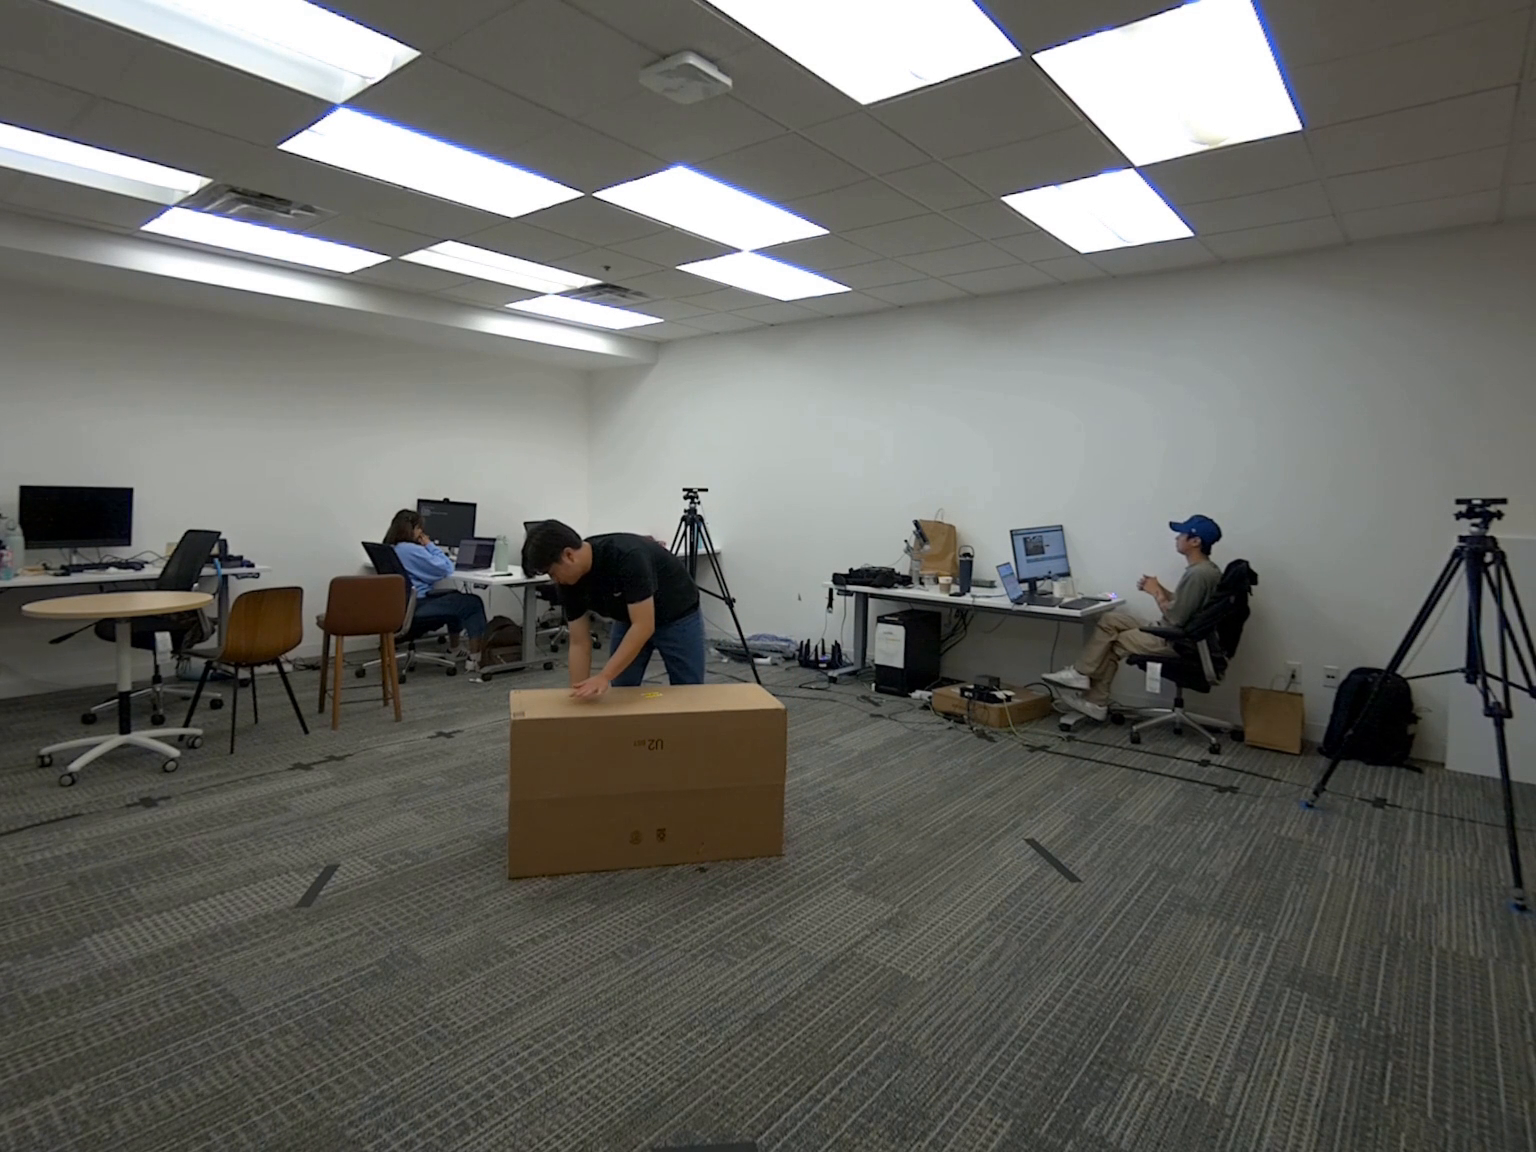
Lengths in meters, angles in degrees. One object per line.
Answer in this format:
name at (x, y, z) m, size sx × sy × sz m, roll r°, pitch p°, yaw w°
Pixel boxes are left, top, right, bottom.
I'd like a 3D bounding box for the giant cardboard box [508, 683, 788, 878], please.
giant cardboard box at (-0.491, 0.755, 3.306) m, size 1.011 × 0.583 × 0.455 m, roll 0°, pitch 3°, yaw -15°
